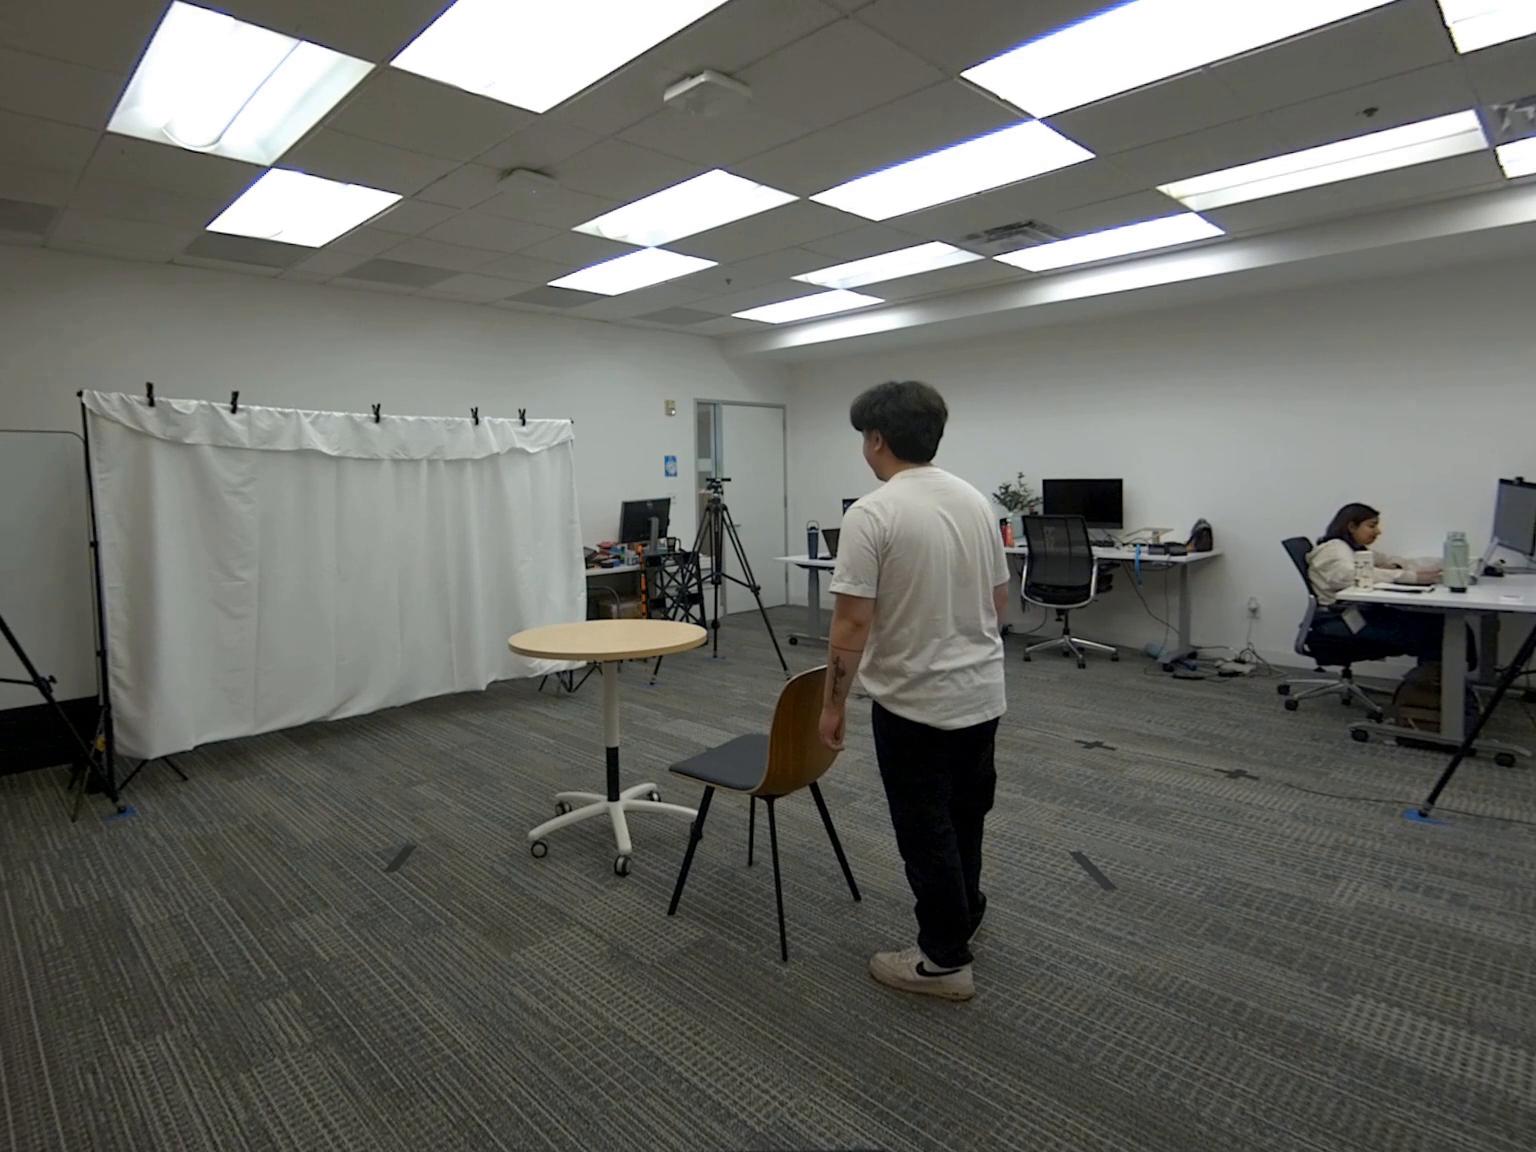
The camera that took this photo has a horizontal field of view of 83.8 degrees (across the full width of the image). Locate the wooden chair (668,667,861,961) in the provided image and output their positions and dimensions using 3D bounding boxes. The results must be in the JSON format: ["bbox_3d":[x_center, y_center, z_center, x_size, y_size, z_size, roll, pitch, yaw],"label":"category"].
[{"bbox_3d":[-0.018,0.654,2.752,0.540,0.872,0.466,8,9,37],"label":"wooden chair"}]
